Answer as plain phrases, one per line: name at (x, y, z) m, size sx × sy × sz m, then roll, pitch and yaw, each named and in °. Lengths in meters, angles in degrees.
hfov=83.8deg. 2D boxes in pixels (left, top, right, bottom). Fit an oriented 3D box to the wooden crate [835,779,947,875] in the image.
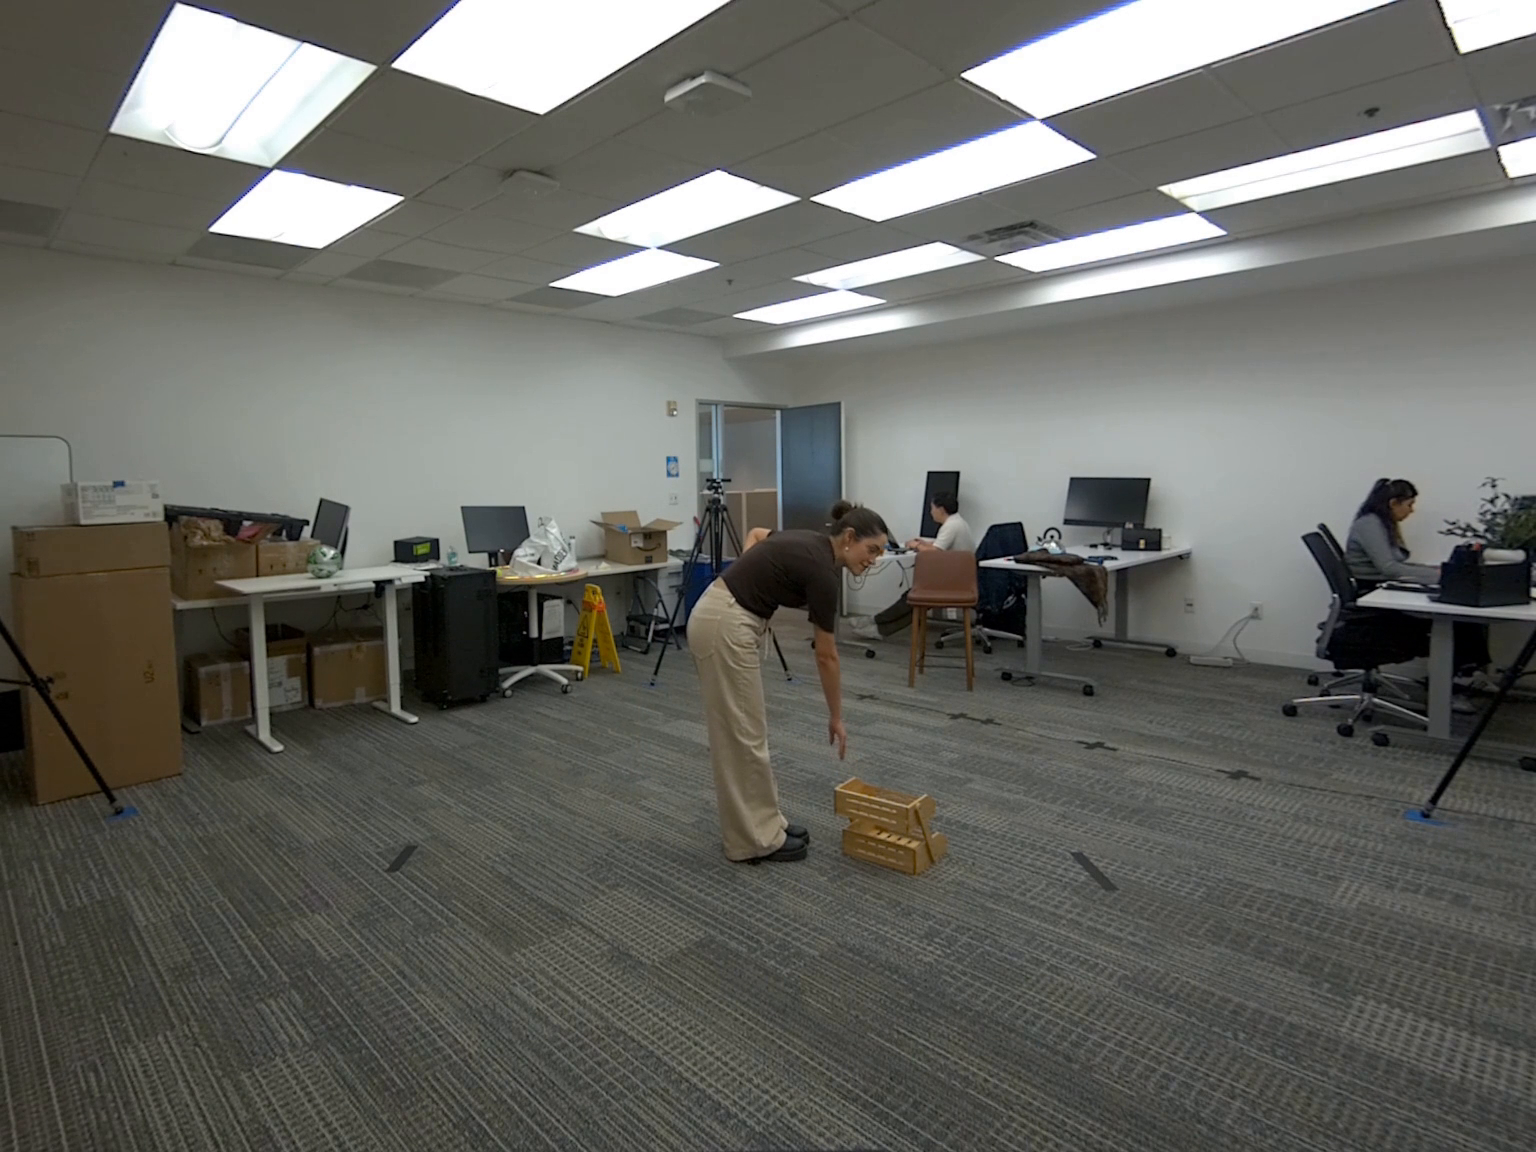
wooden crate at (0.451, 0.890, 3.148) m, size 0.334 × 0.272 × 0.295 m, roll 3°, pitch 7°, yaw 38°
